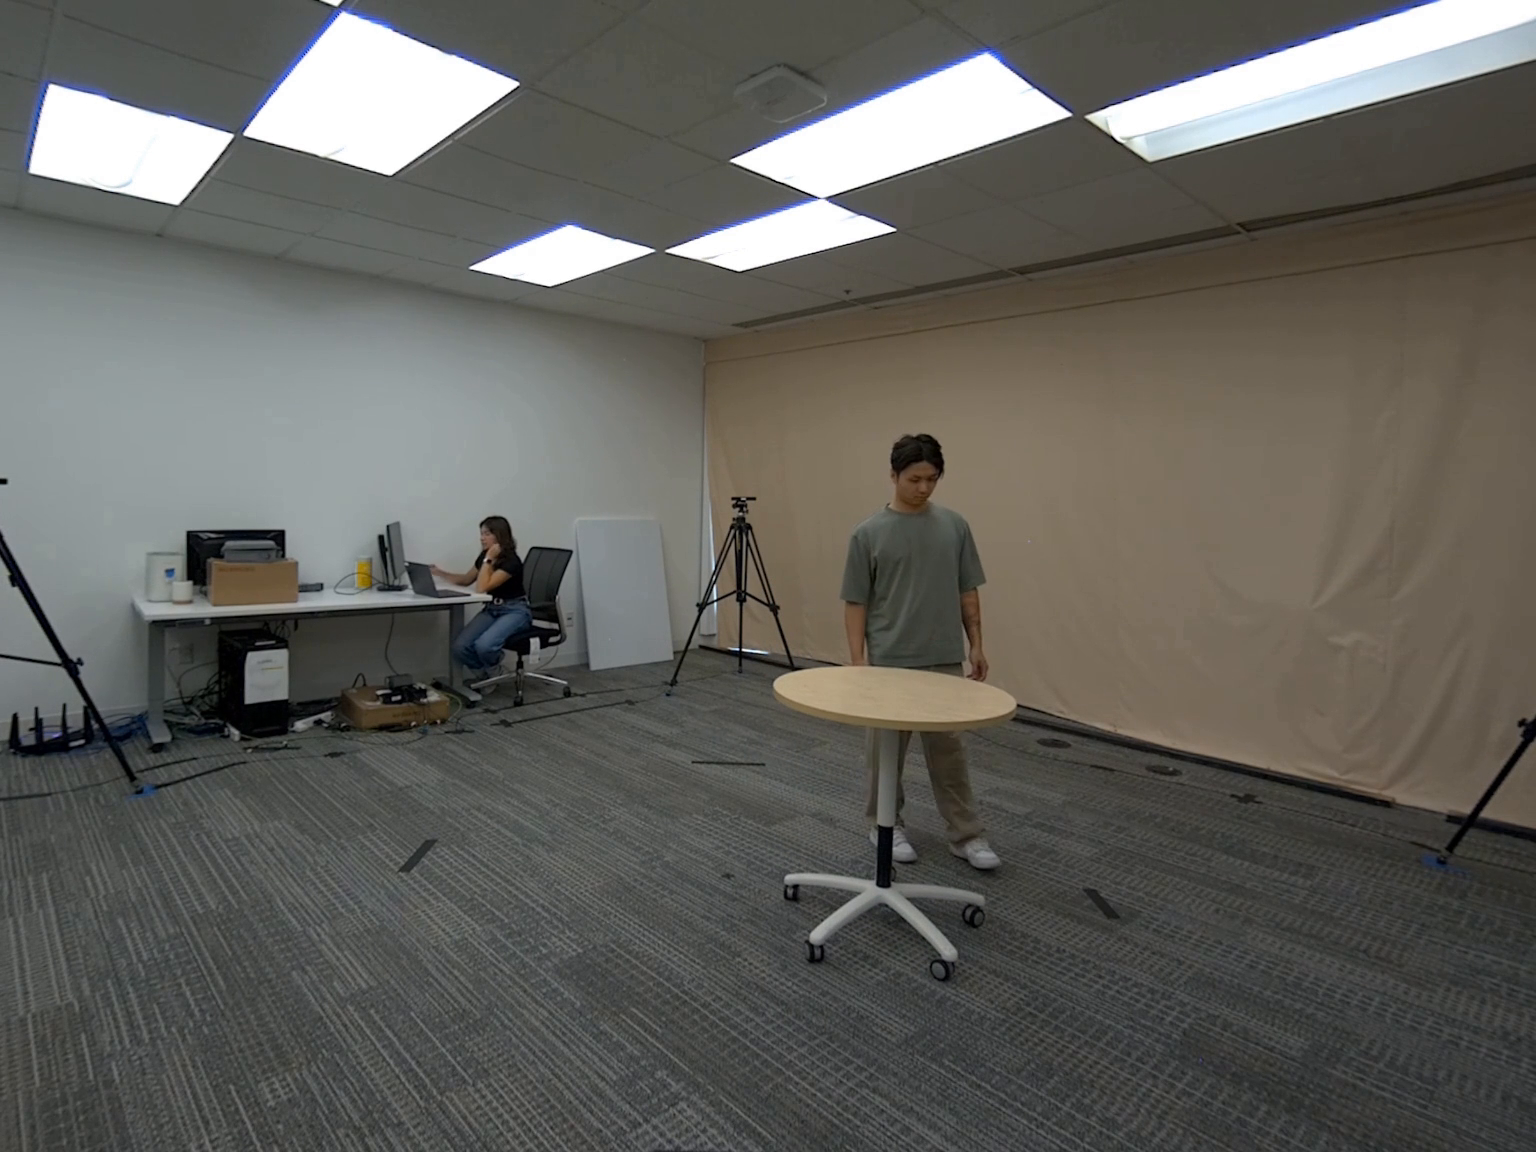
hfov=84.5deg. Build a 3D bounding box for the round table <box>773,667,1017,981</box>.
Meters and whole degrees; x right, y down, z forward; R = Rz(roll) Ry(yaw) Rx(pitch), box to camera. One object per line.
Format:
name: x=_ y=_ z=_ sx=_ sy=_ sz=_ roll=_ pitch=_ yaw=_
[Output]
round table: x=0.383 y=0.757 z=2.752 sx=0.784 sy=0.784 sz=0.788 roll=2 pitch=4 yaw=-2
